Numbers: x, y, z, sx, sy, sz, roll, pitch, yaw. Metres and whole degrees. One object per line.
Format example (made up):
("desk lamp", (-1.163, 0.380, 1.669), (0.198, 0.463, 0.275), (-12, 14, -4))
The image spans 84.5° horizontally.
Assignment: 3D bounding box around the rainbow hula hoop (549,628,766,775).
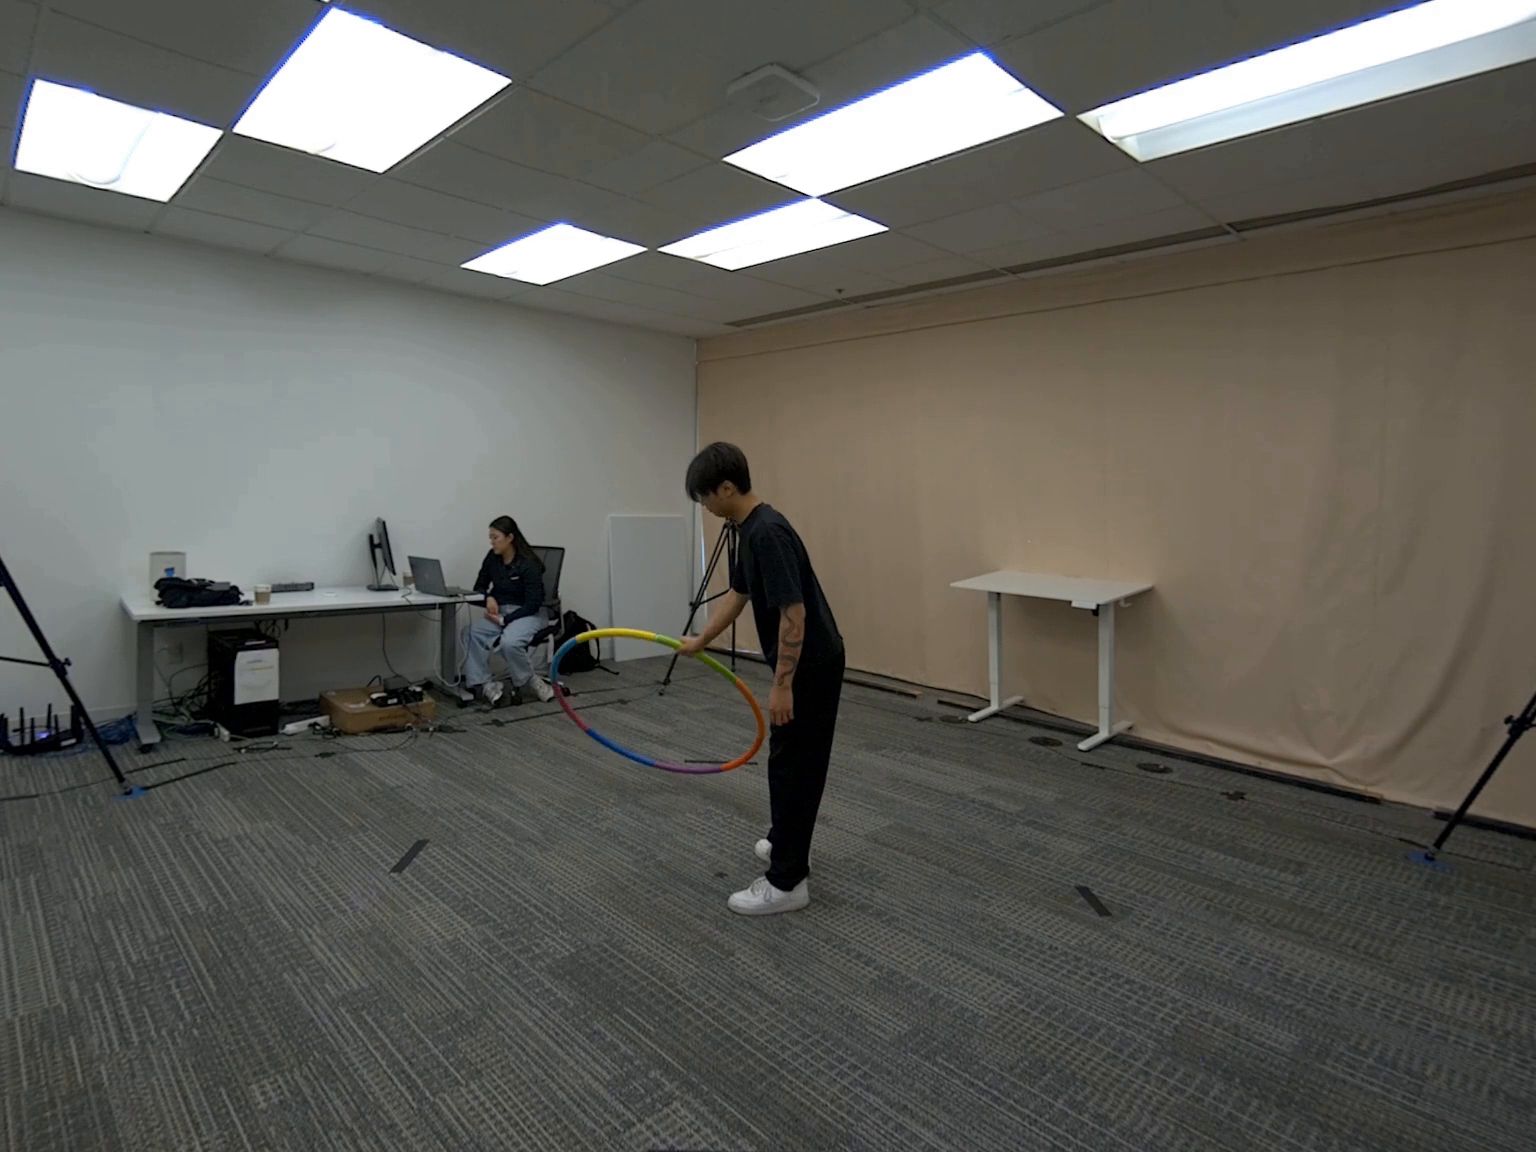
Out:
("rainbow hula hoop", (-0.496, 0.588, 3.684), (0.993, 0.952, 0.036), (3, 44, 19))
